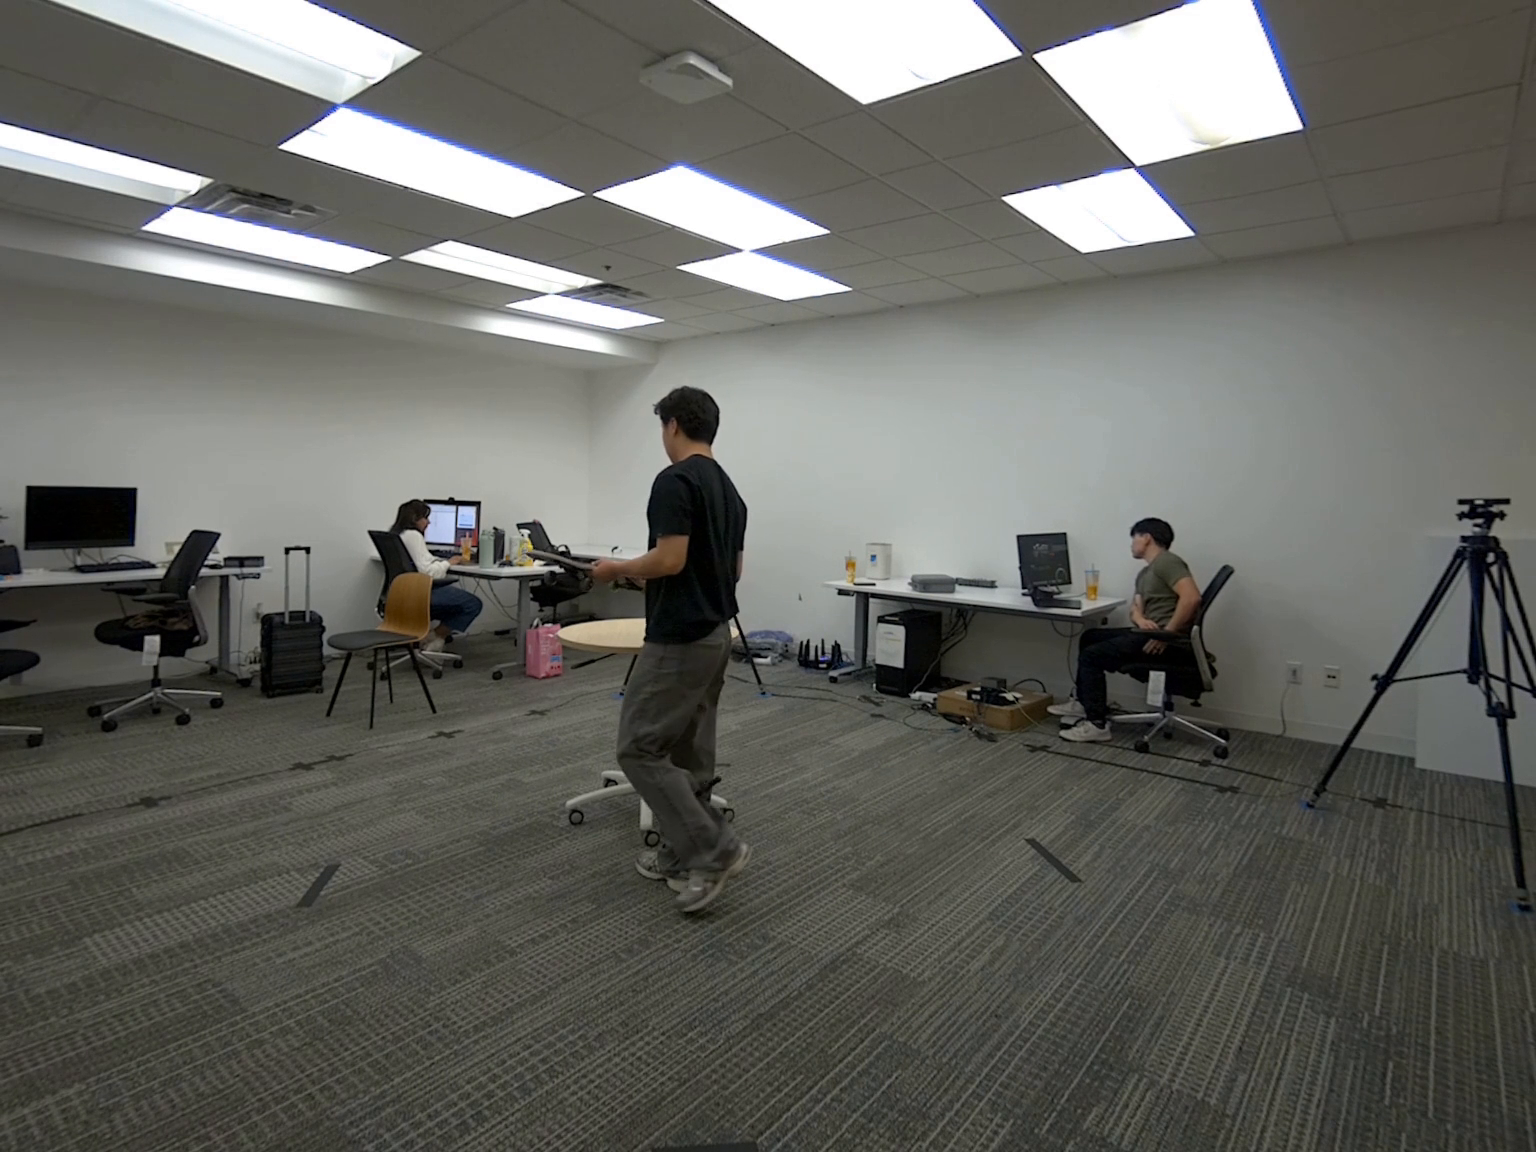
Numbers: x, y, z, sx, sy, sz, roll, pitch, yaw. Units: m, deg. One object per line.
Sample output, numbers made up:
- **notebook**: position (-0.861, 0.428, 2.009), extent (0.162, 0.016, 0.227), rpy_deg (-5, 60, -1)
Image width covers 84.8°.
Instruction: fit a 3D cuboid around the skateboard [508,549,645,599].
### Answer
- **skateboard**: position (-0.601, 0.005, 3.073), extent (0.199, 0.110, 0.762), rpy_deg (9, 0, 25)
